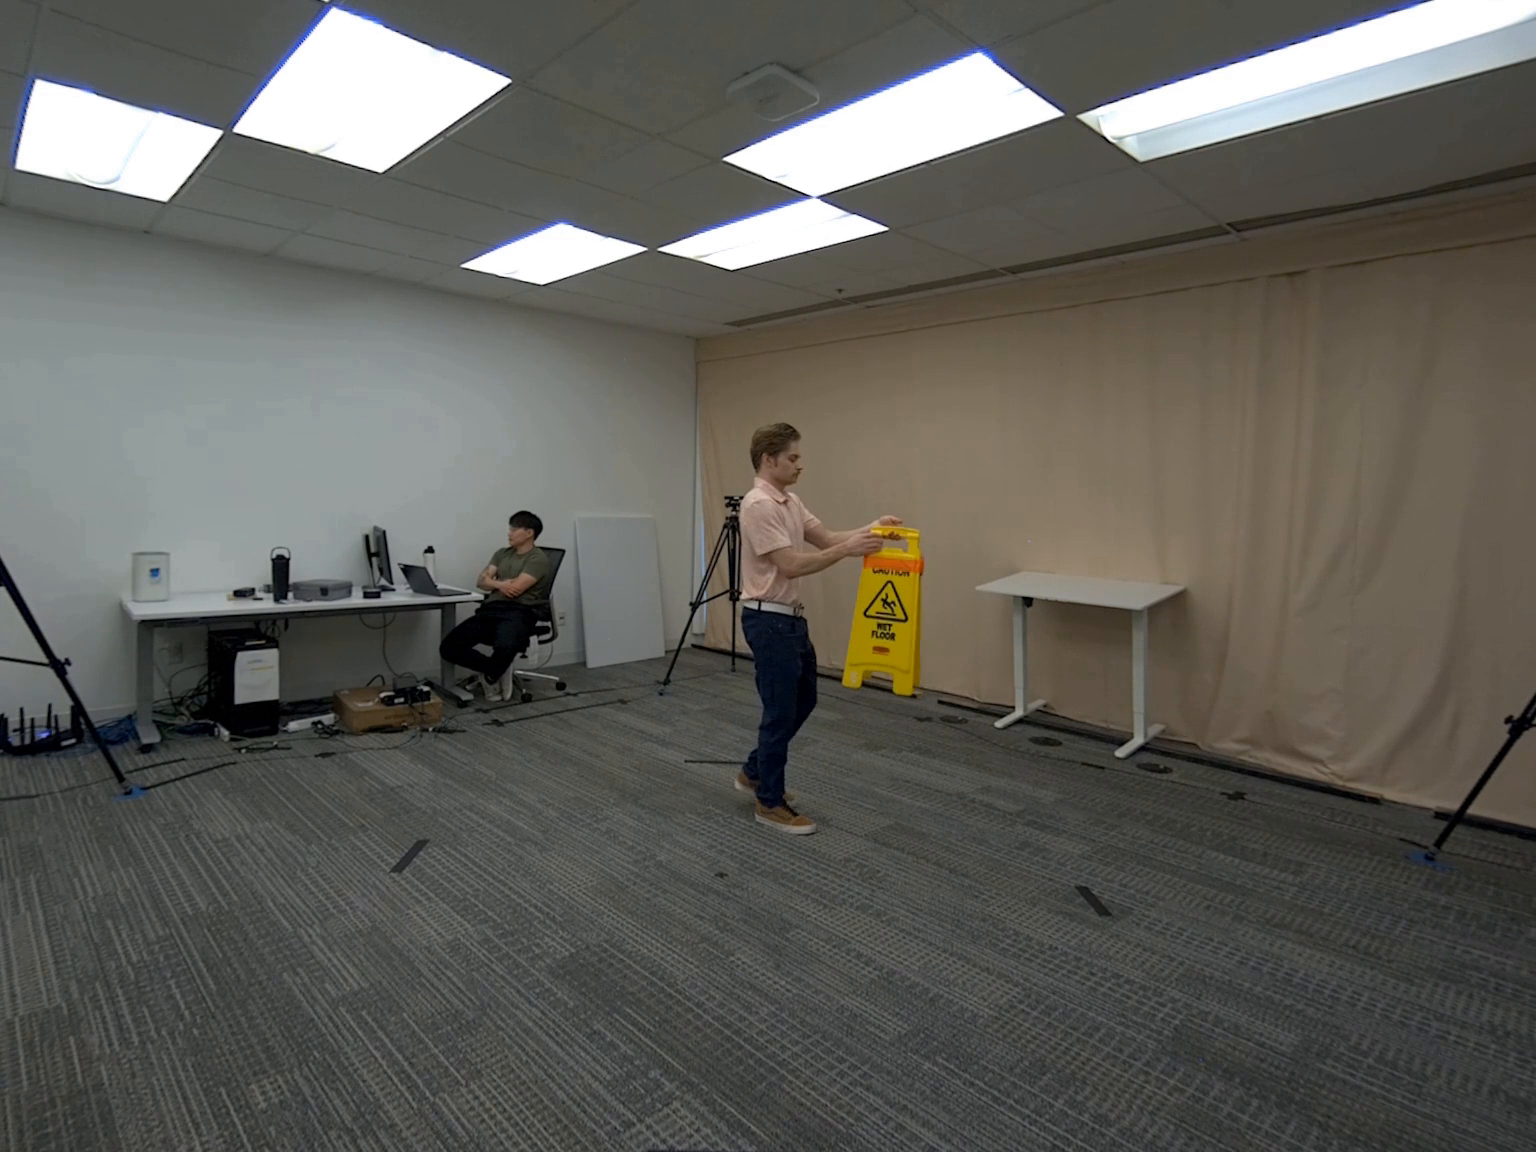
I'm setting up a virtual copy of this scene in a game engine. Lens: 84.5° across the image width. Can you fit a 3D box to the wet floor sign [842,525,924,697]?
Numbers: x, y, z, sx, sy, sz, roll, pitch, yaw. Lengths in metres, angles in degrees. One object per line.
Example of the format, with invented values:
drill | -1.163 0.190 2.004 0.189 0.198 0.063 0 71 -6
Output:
wet floor sign | 0.487 0.131 3.441 0.286 0.644 0.286 9 4 17
